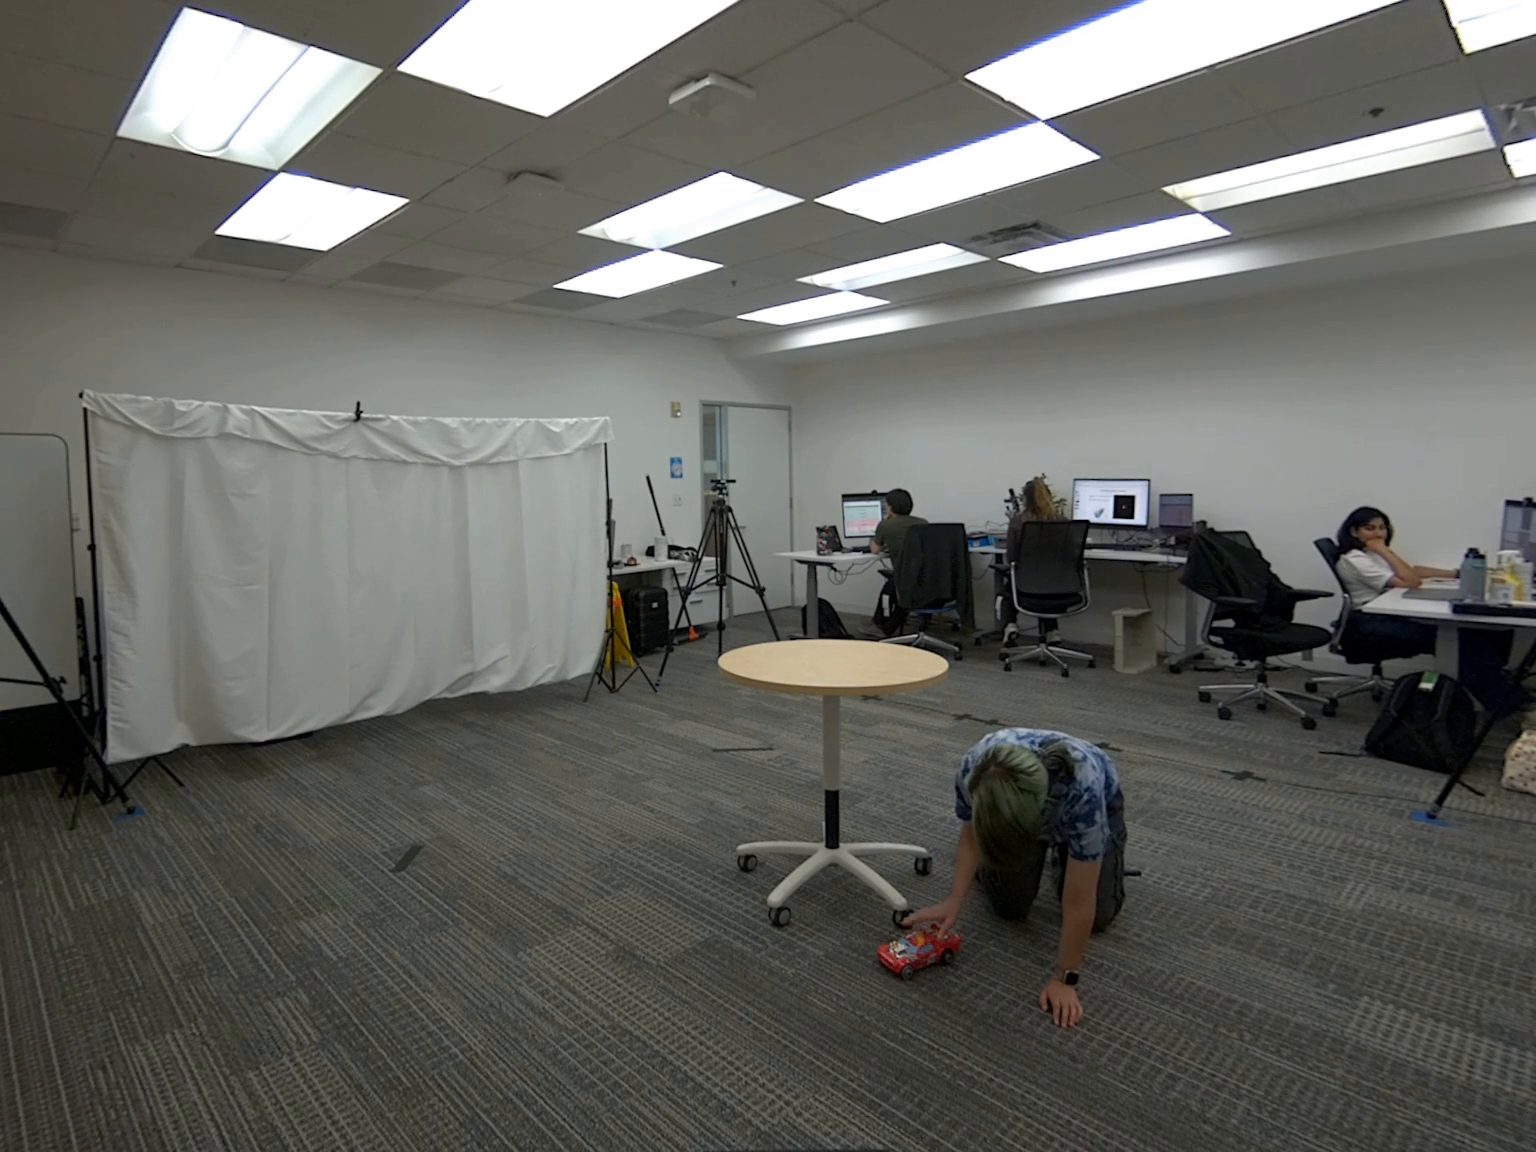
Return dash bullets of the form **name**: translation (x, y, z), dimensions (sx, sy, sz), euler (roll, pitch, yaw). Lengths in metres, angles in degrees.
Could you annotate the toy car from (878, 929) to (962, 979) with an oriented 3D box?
- **toy car**: translation (0.451, 1.083, 2.458), dimensions (0.250, 0.082, 0.134), euler (-16, 14, -26)
